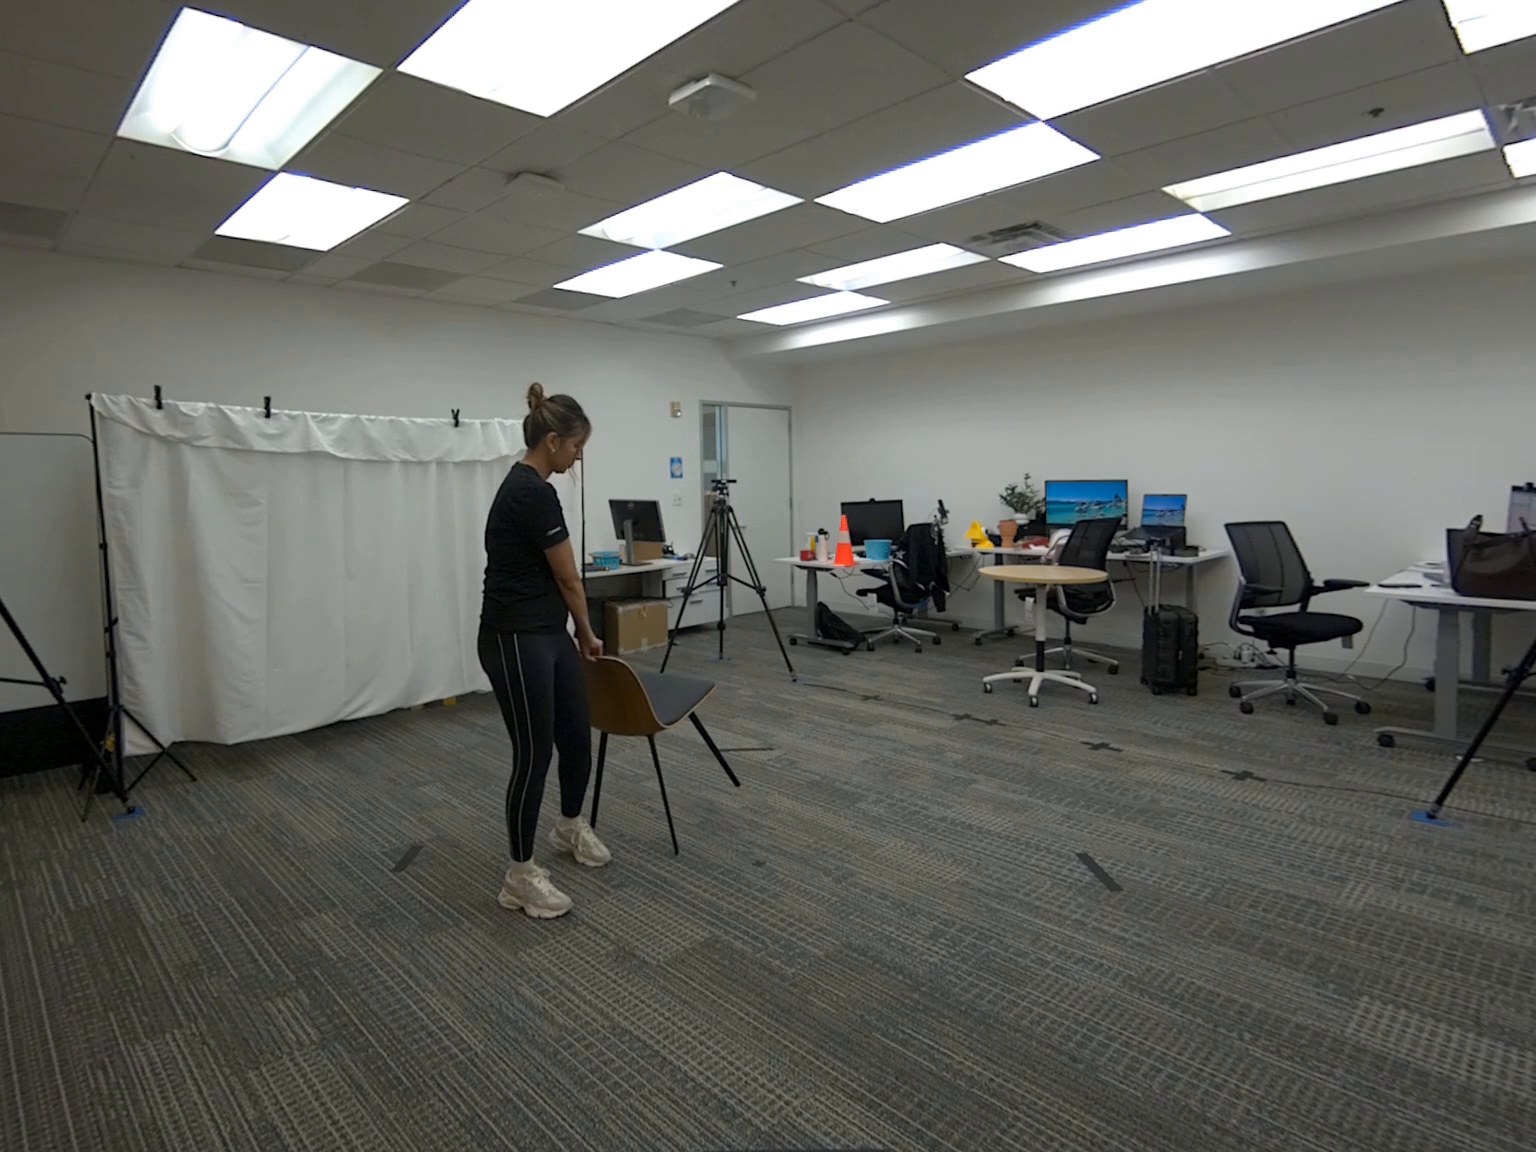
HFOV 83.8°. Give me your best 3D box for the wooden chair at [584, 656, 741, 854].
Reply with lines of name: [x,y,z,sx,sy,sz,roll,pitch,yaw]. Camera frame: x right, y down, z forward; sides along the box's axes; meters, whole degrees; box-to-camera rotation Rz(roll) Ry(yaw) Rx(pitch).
wooden chair: [-0.484,0.551,3.374,0.491,0.858,0.520,1,26,34]
